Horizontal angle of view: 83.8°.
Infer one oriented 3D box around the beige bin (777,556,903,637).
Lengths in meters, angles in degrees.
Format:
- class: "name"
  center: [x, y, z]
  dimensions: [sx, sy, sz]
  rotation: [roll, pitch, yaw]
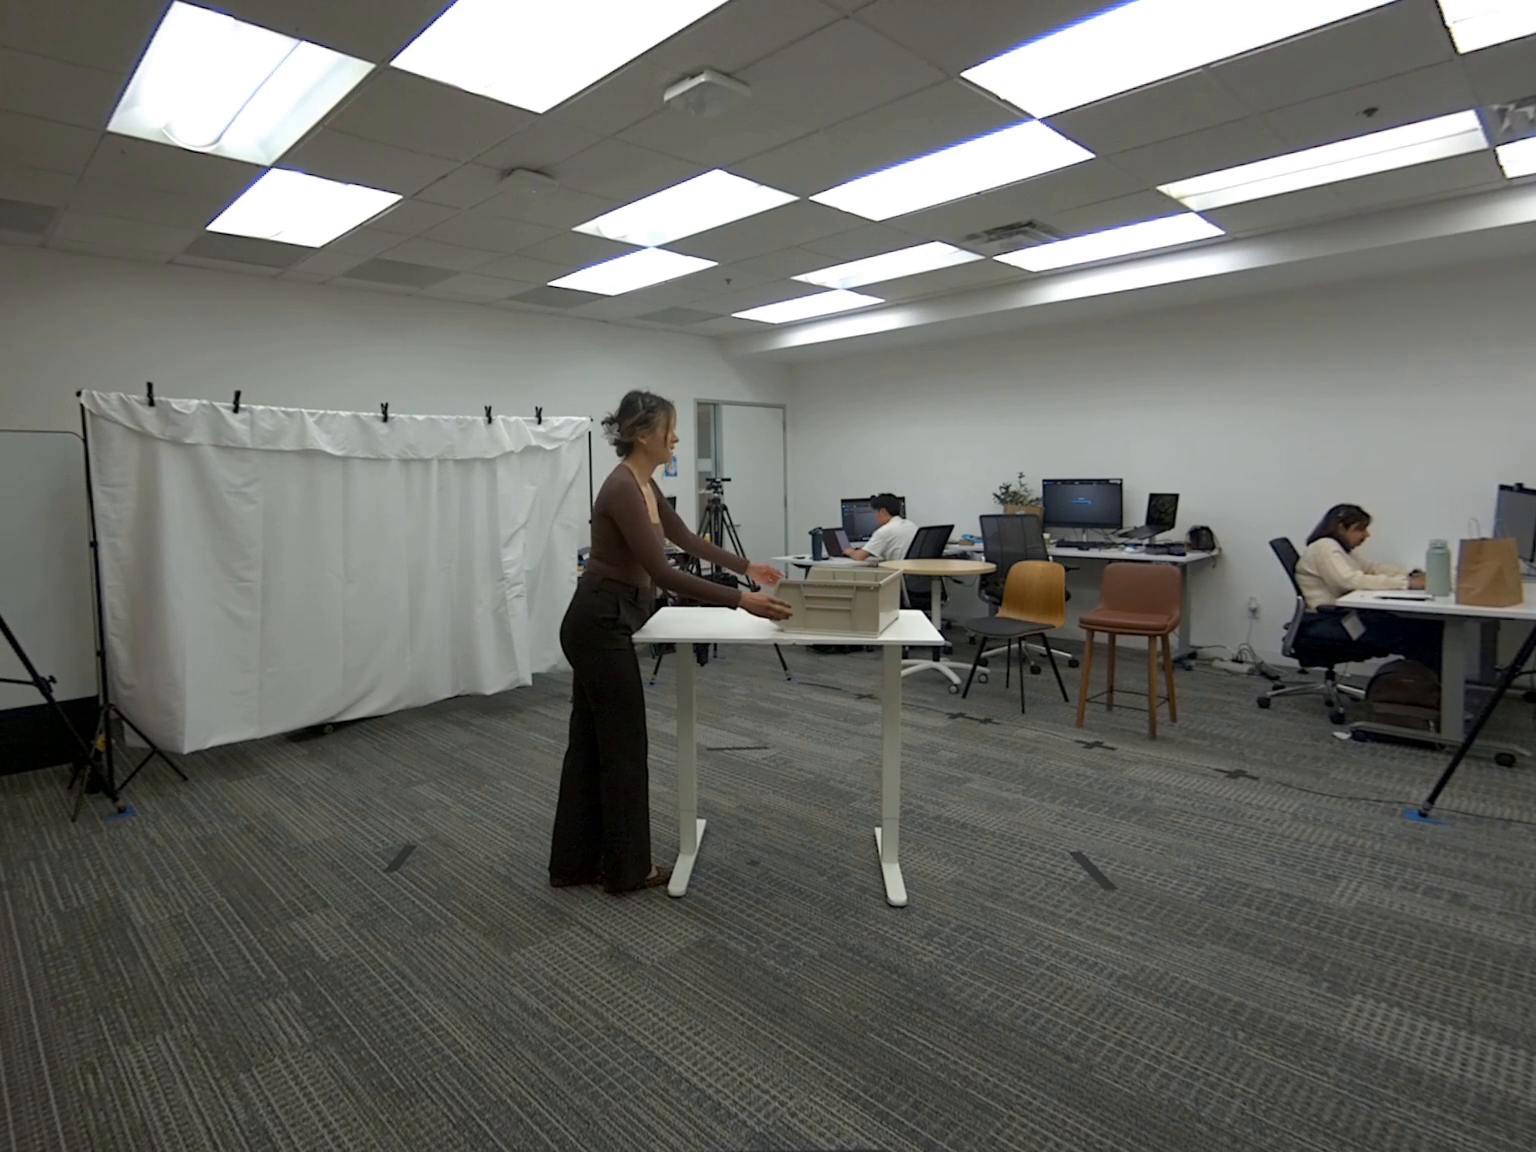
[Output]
- class: "beige bin"
  center: [0.247, 0.084, 2.967]
  dimensions: [0.385, 0.188, 0.416]
  rotation: [2, 7, 19]
